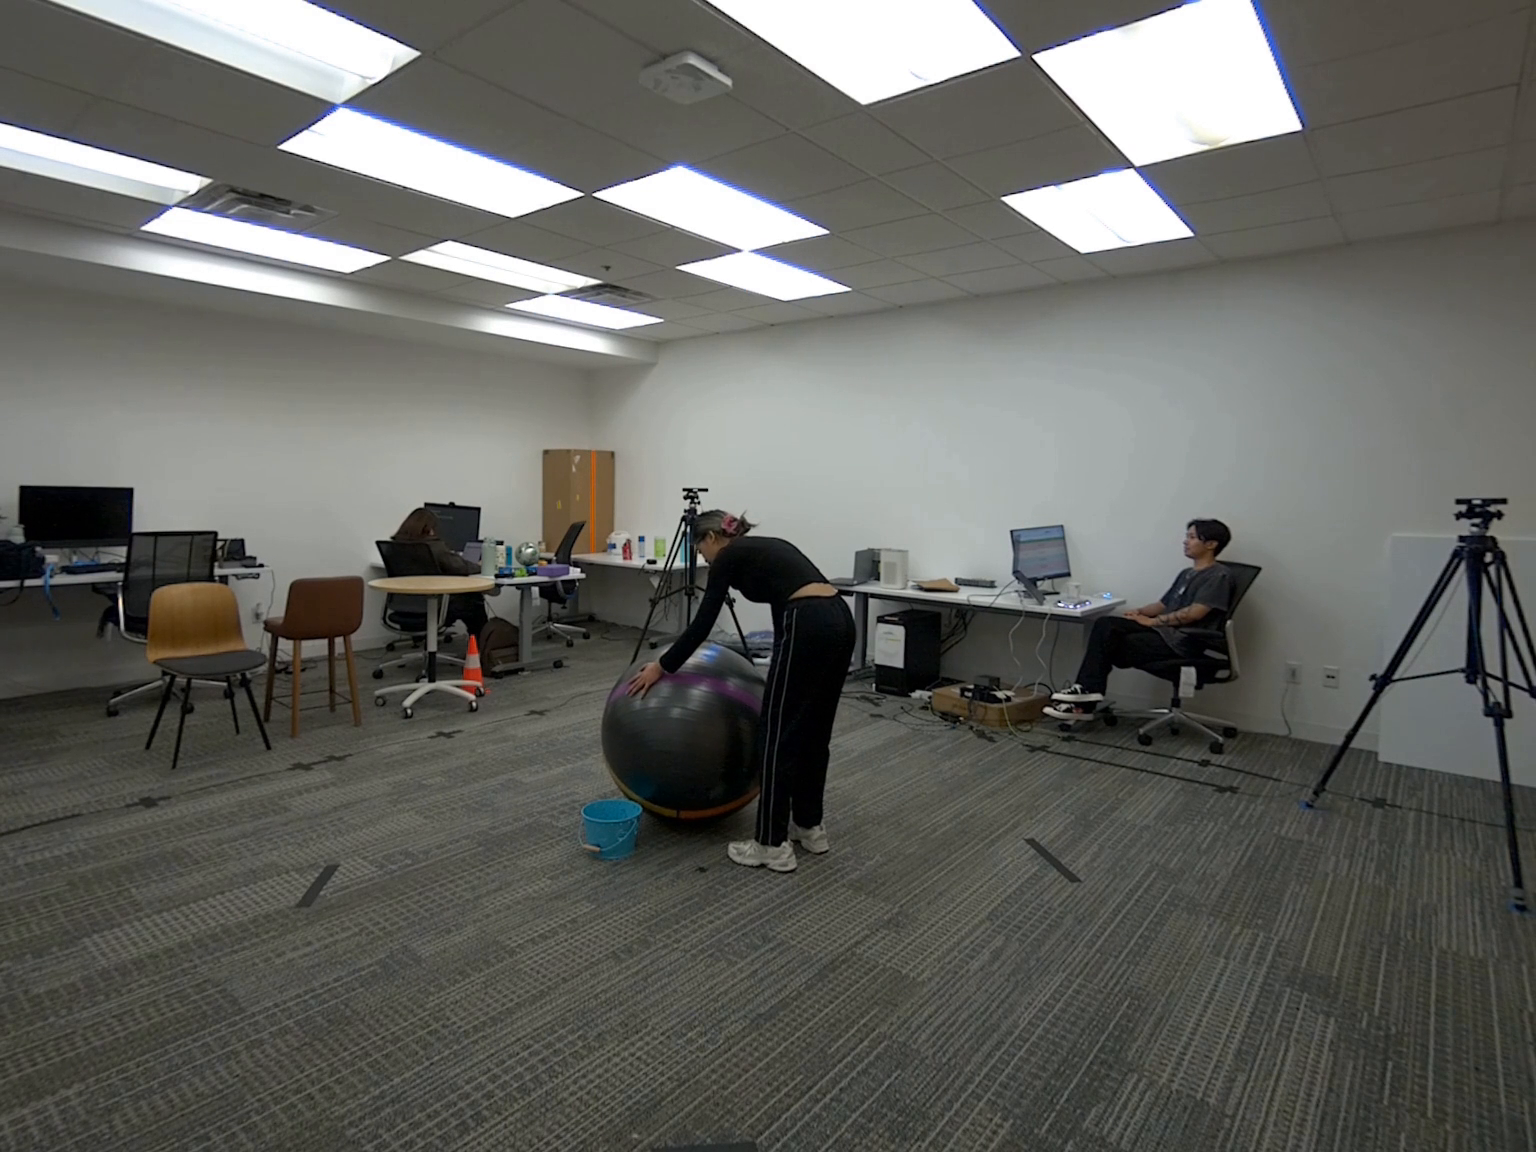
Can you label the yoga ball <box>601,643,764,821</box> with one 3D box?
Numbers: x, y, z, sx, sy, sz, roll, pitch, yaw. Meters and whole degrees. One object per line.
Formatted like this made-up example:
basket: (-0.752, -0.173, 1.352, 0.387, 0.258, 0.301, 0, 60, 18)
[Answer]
yoga ball: (-0.339, 0.650, 3.596, 0.757, 0.755, 0.762, 1, 4, -2)
